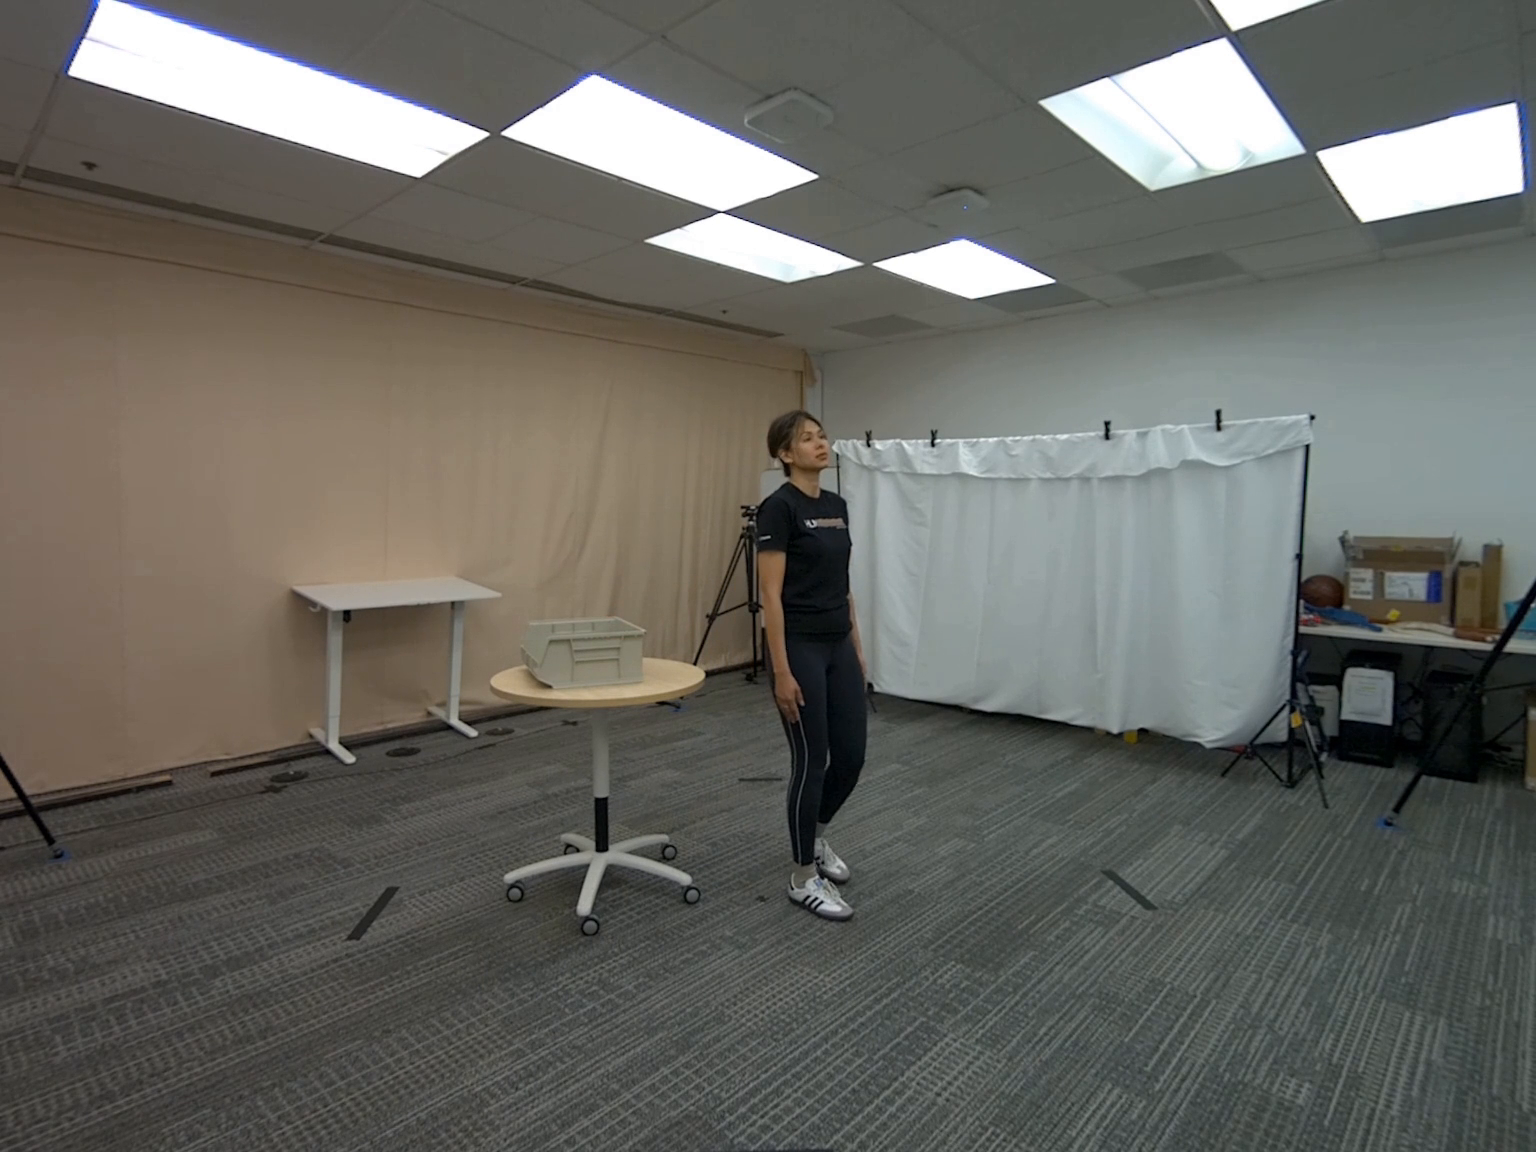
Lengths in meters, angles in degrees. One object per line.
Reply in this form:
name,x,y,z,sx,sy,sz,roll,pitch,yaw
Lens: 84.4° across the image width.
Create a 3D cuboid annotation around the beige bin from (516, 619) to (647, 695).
beige bin,-0.679,0.276,3.030,0.369,0.189,0.432,-1,3,-23
